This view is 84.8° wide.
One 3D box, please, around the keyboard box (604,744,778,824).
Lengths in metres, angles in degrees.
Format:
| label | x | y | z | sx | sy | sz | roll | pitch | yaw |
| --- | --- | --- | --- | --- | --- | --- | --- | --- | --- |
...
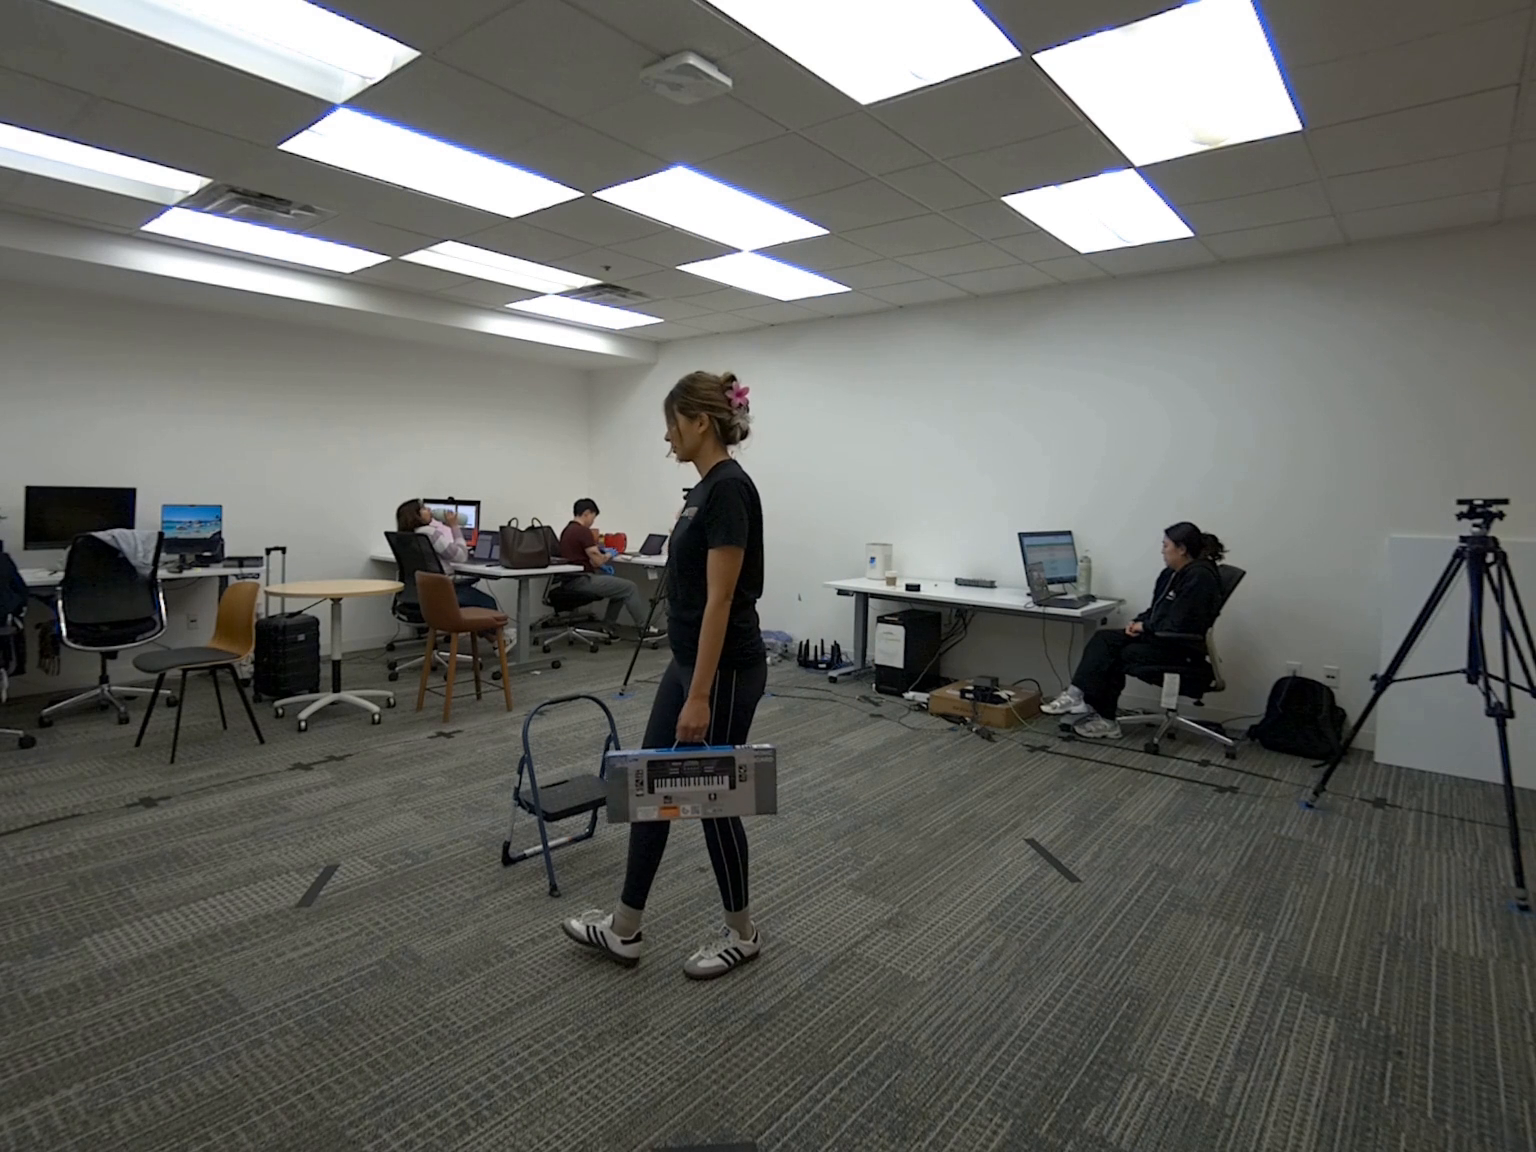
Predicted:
| label | x | y | z | sx | sy | sz | roll | pitch | yaw |
| --- | --- | --- | --- | --- | --- | --- | --- | --- | --- |
| keyboard box | -0.205 | 0.531 | 2.208 | 0.435 | 0.176 | 0.059 | -2 | -1 | -4 |
